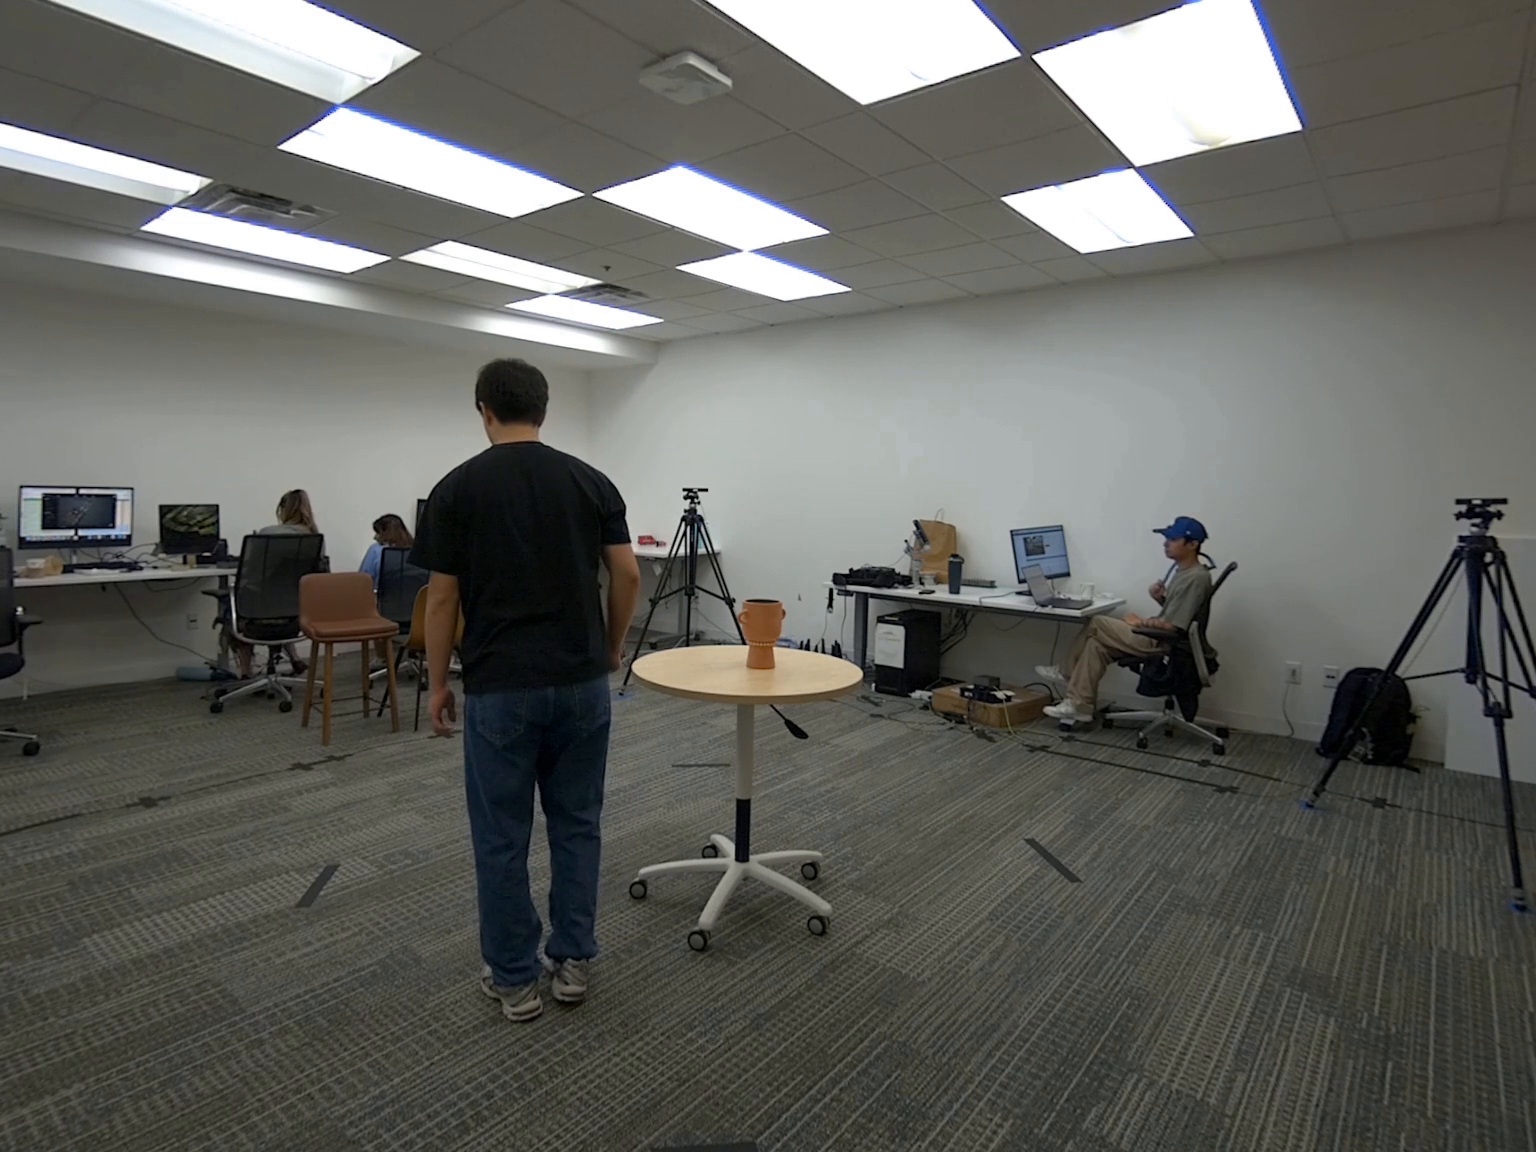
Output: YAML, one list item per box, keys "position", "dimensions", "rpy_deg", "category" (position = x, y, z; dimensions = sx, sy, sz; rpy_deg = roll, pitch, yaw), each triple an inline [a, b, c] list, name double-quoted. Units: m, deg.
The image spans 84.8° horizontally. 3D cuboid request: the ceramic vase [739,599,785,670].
- position: [-0.030, 0.193, 2.852]
  dimensions: [0.160, 0.219, 0.134]
  rpy_deg: [2, 3, 4]
  category: "ceramic vase"
